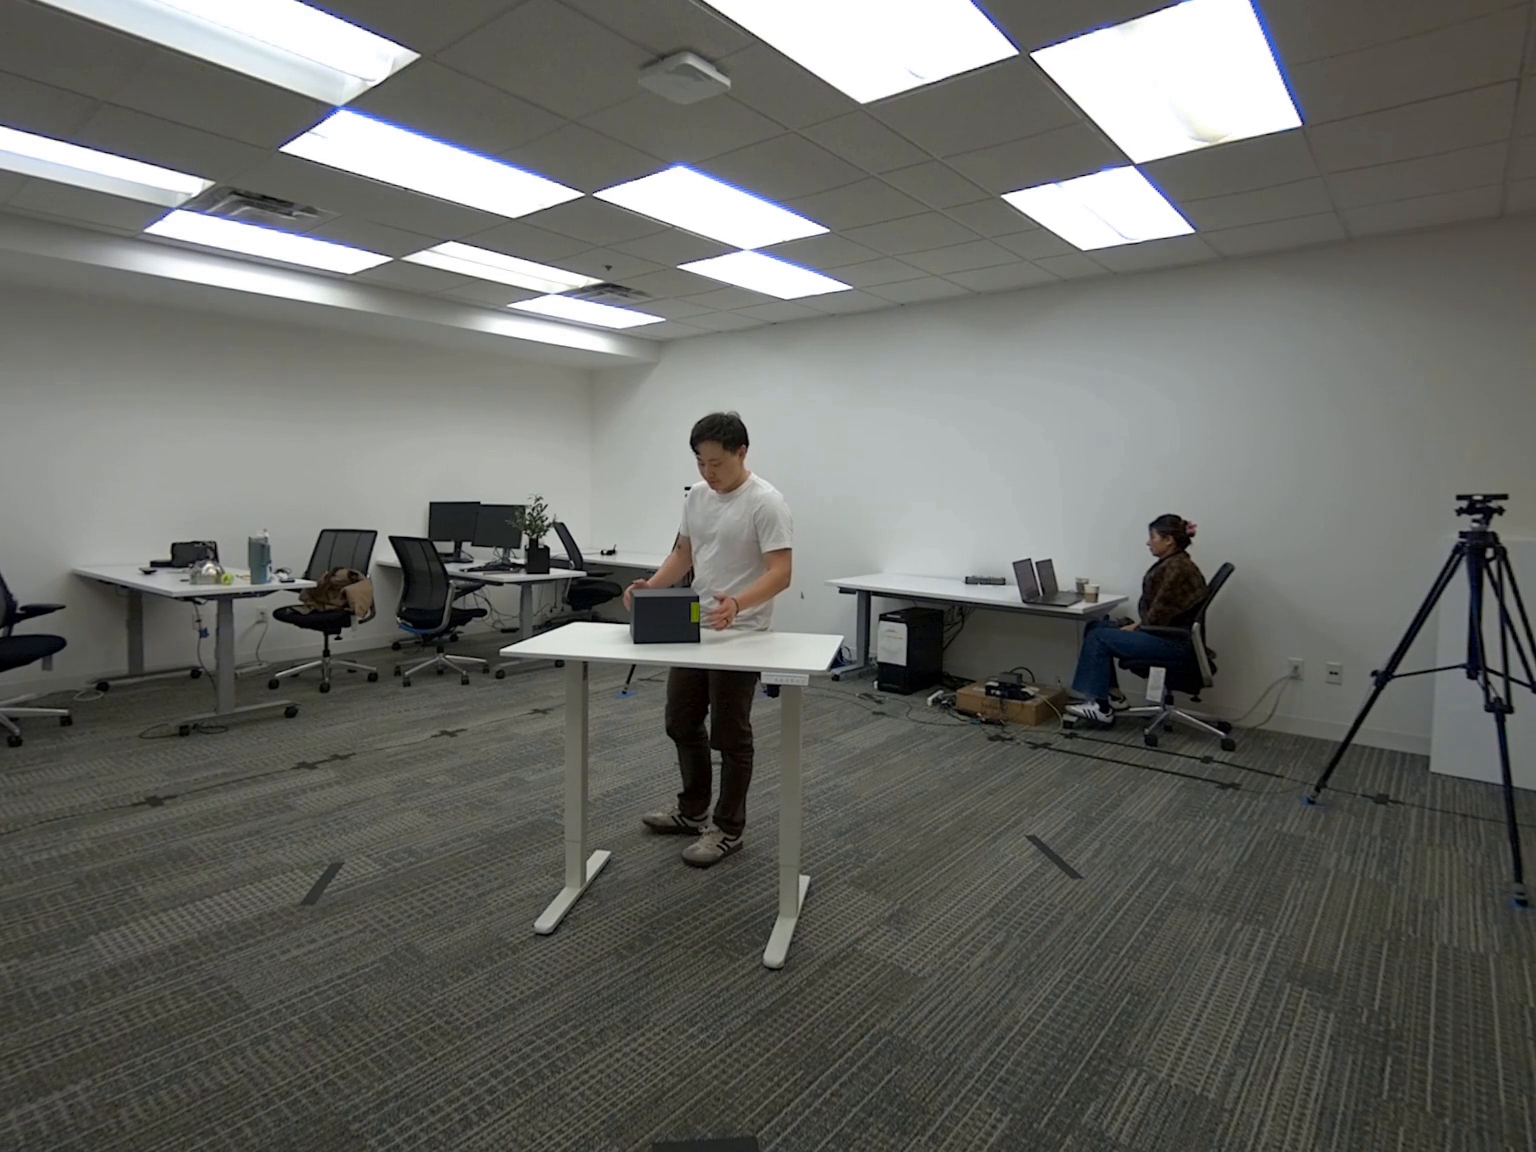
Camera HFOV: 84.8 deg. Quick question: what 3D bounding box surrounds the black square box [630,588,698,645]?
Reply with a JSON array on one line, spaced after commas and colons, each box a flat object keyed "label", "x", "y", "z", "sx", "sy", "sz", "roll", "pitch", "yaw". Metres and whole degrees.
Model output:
[{"label": "black square box", "x": -0.378, "y": 0.132, "z": 2.861, "sx": 0.216, "sy": 0.155, "sz": 0.229, "roll": 1, "pitch": 5, "yaw": -3}]
